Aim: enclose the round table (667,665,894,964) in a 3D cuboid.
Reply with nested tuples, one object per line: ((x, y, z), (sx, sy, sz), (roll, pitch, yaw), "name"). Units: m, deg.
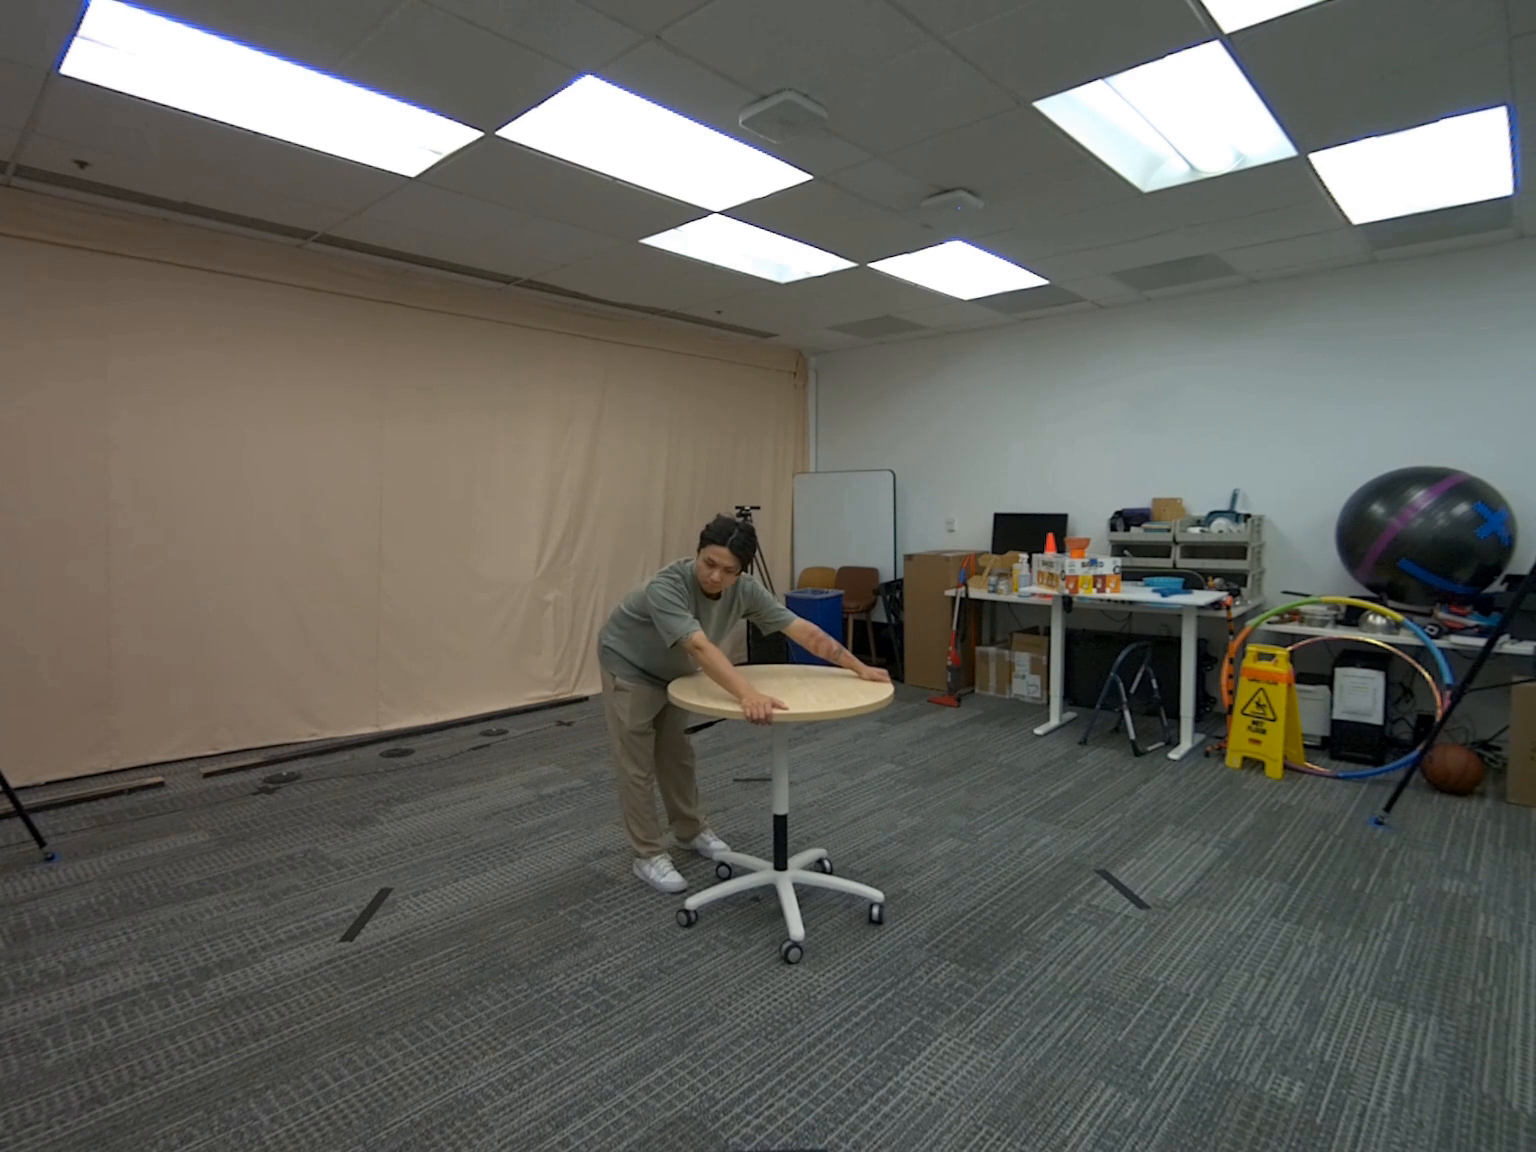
((0.059, 0.760, 2.901), (0.784, 0.784, 0.788), (0, 4, -2), "round table")
